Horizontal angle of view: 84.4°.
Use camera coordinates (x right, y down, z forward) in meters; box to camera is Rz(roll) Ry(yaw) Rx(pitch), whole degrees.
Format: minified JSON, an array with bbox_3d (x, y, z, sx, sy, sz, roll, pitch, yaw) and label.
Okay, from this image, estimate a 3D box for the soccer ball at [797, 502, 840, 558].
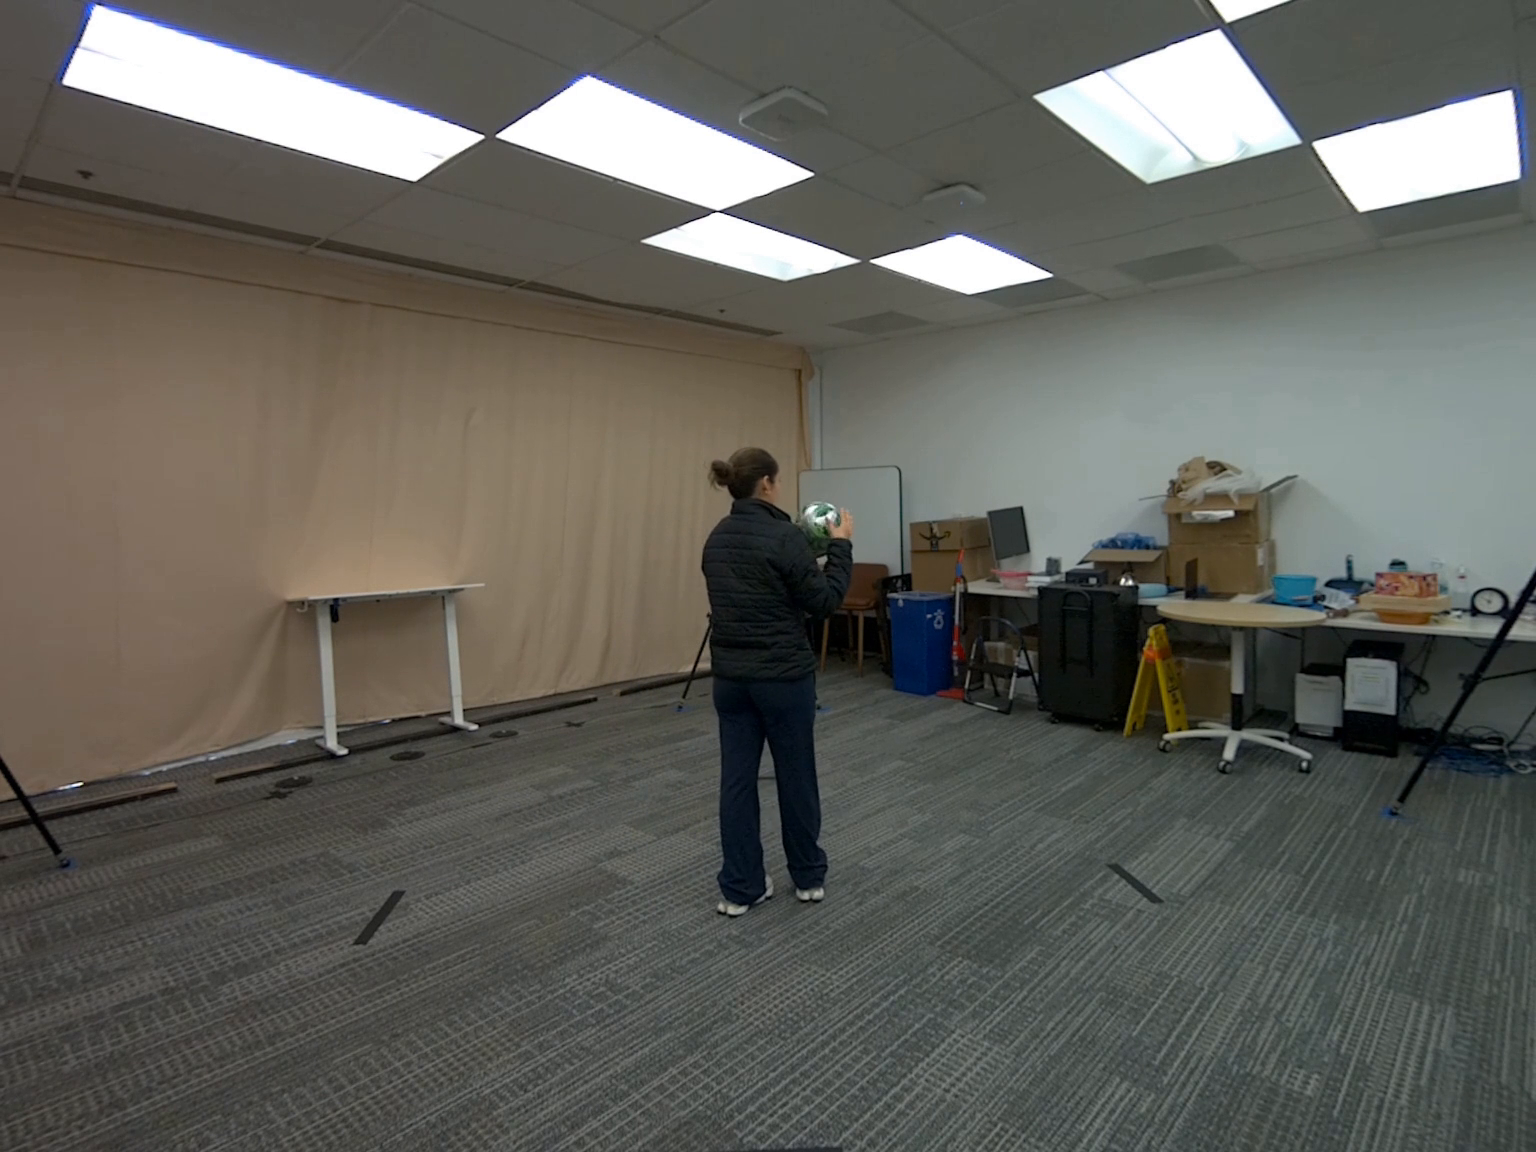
[{"bbox_3d":[0.192,-0.173,3.044,0.187,0.187,0.188,-1,4,-2],"label":"soccer ball"}]
